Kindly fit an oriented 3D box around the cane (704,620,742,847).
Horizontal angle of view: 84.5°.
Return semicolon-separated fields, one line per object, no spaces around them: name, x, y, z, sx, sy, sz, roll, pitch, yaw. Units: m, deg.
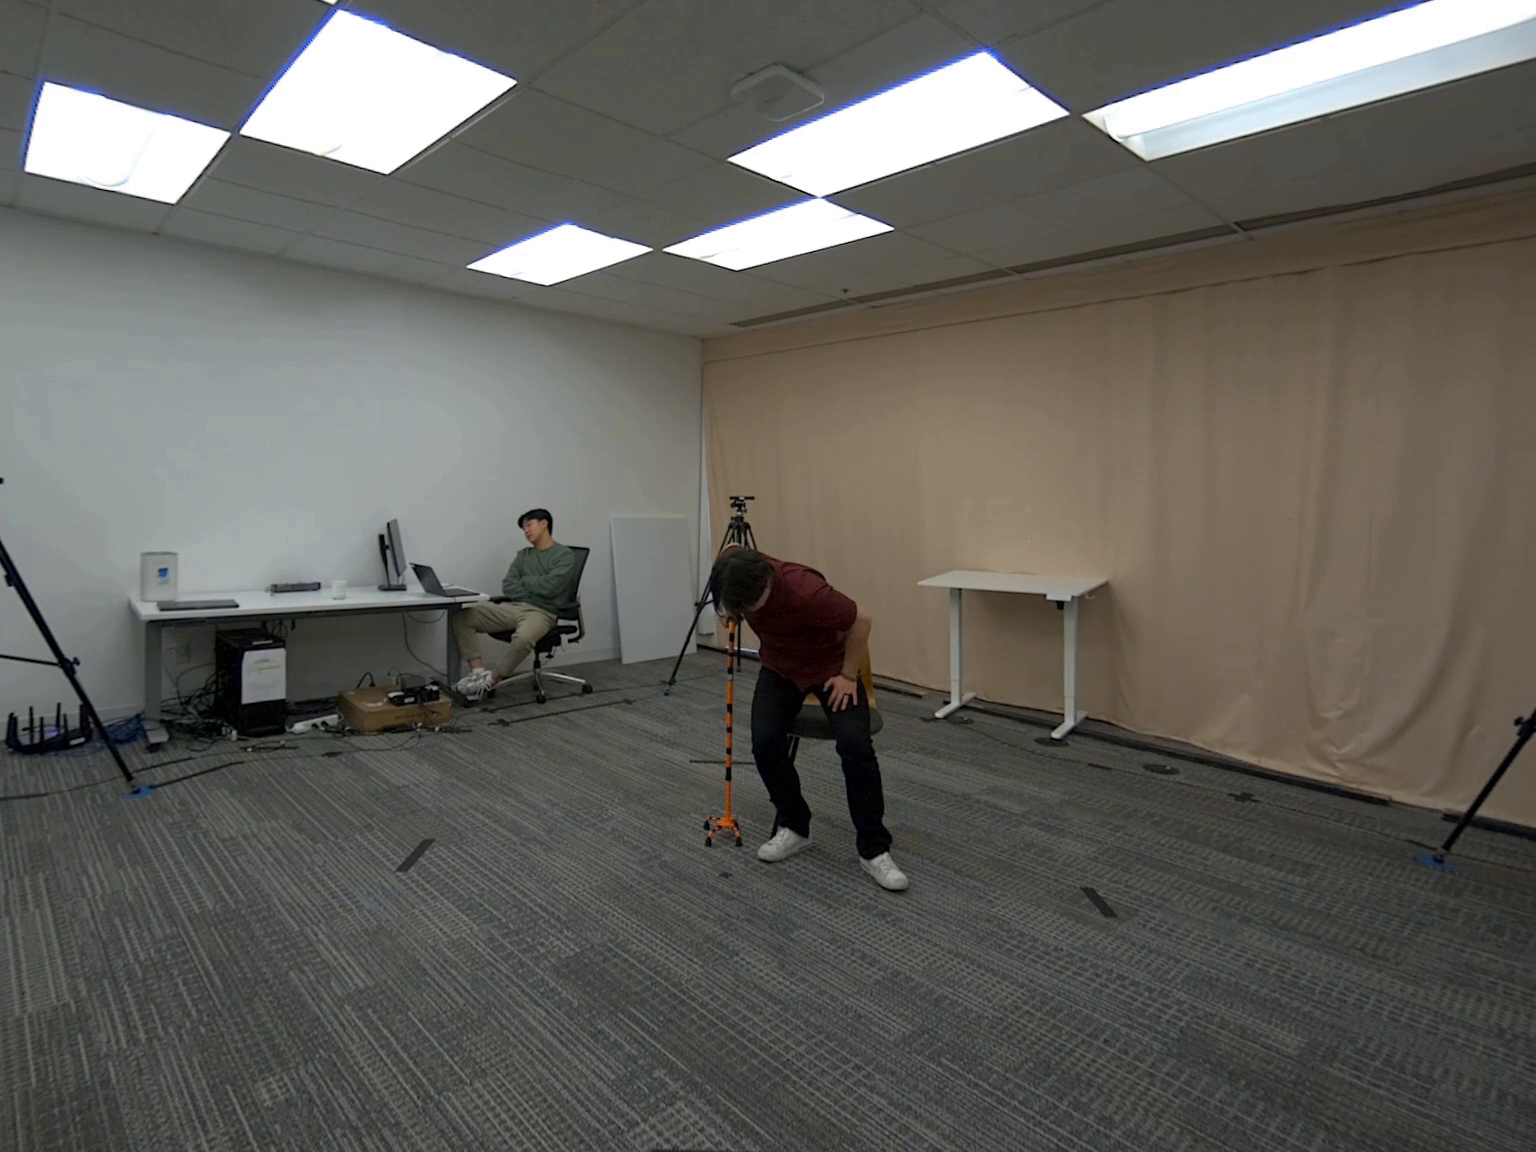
cane;-0.184;0.627;3.442;0.151;0.906;0.208;0;3;-6
